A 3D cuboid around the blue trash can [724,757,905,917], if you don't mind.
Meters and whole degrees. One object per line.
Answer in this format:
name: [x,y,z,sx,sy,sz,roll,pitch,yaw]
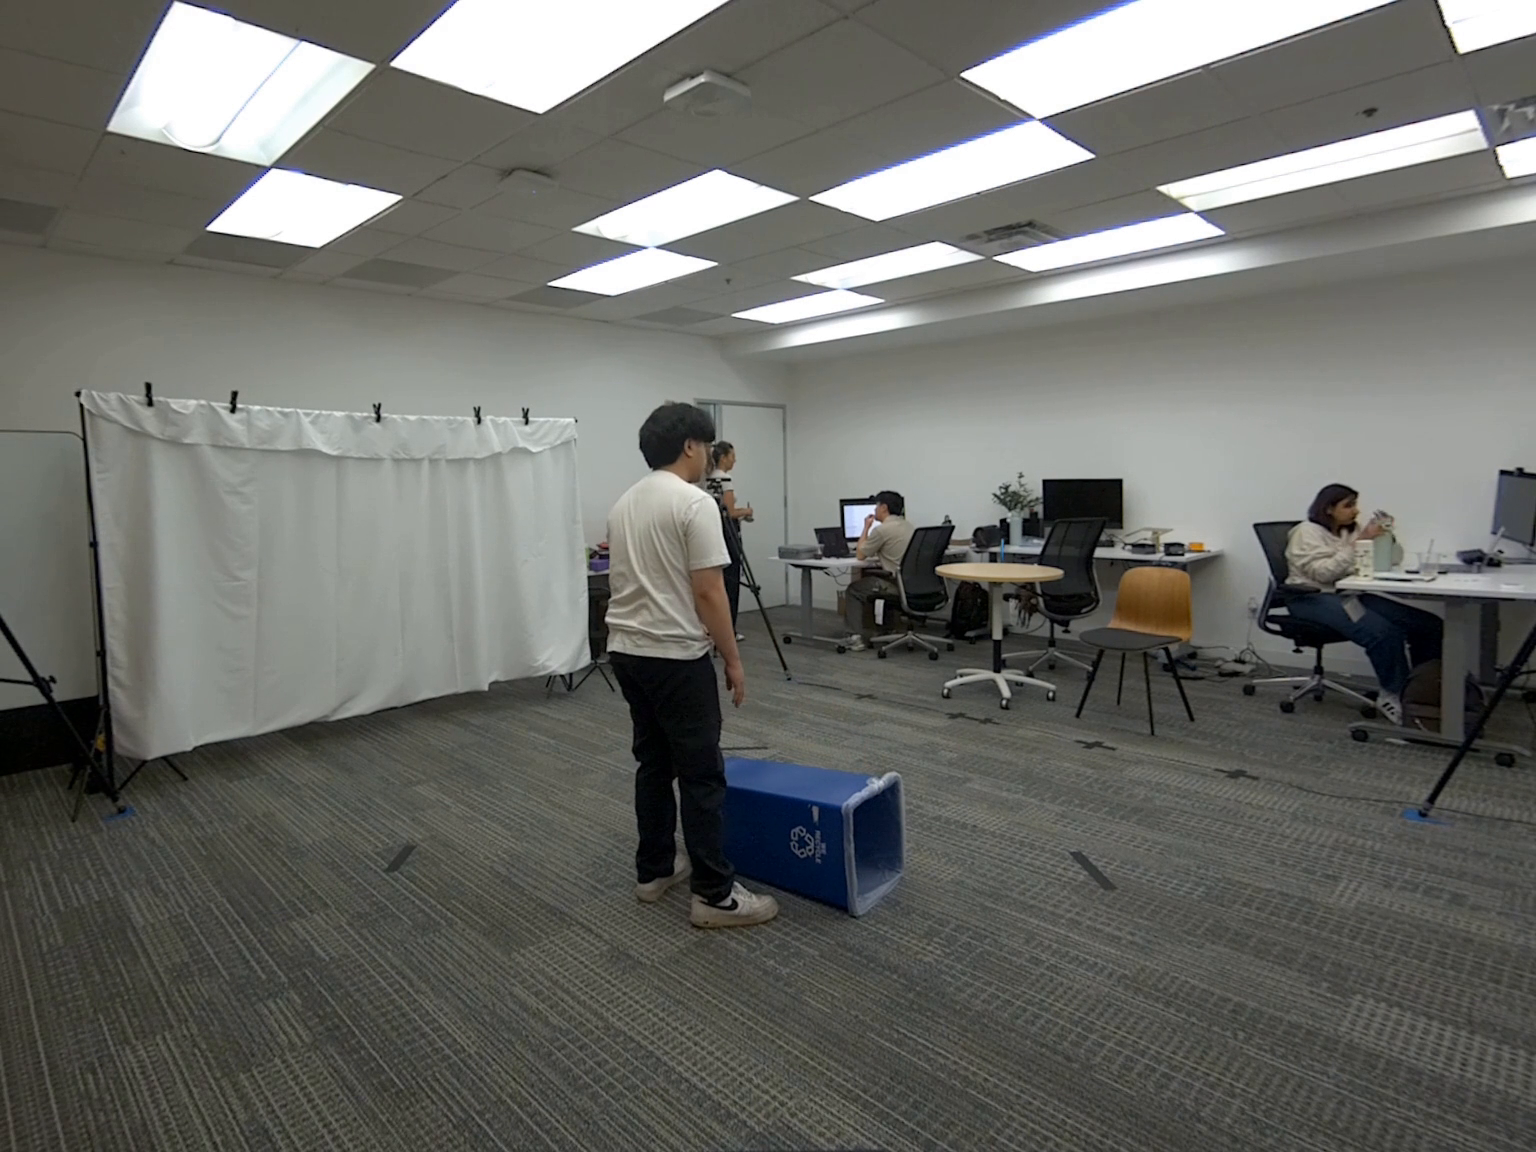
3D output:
blue trash can: [0.081,0.882,3.048,0.733,0.373,0.369,-1,5,36]
